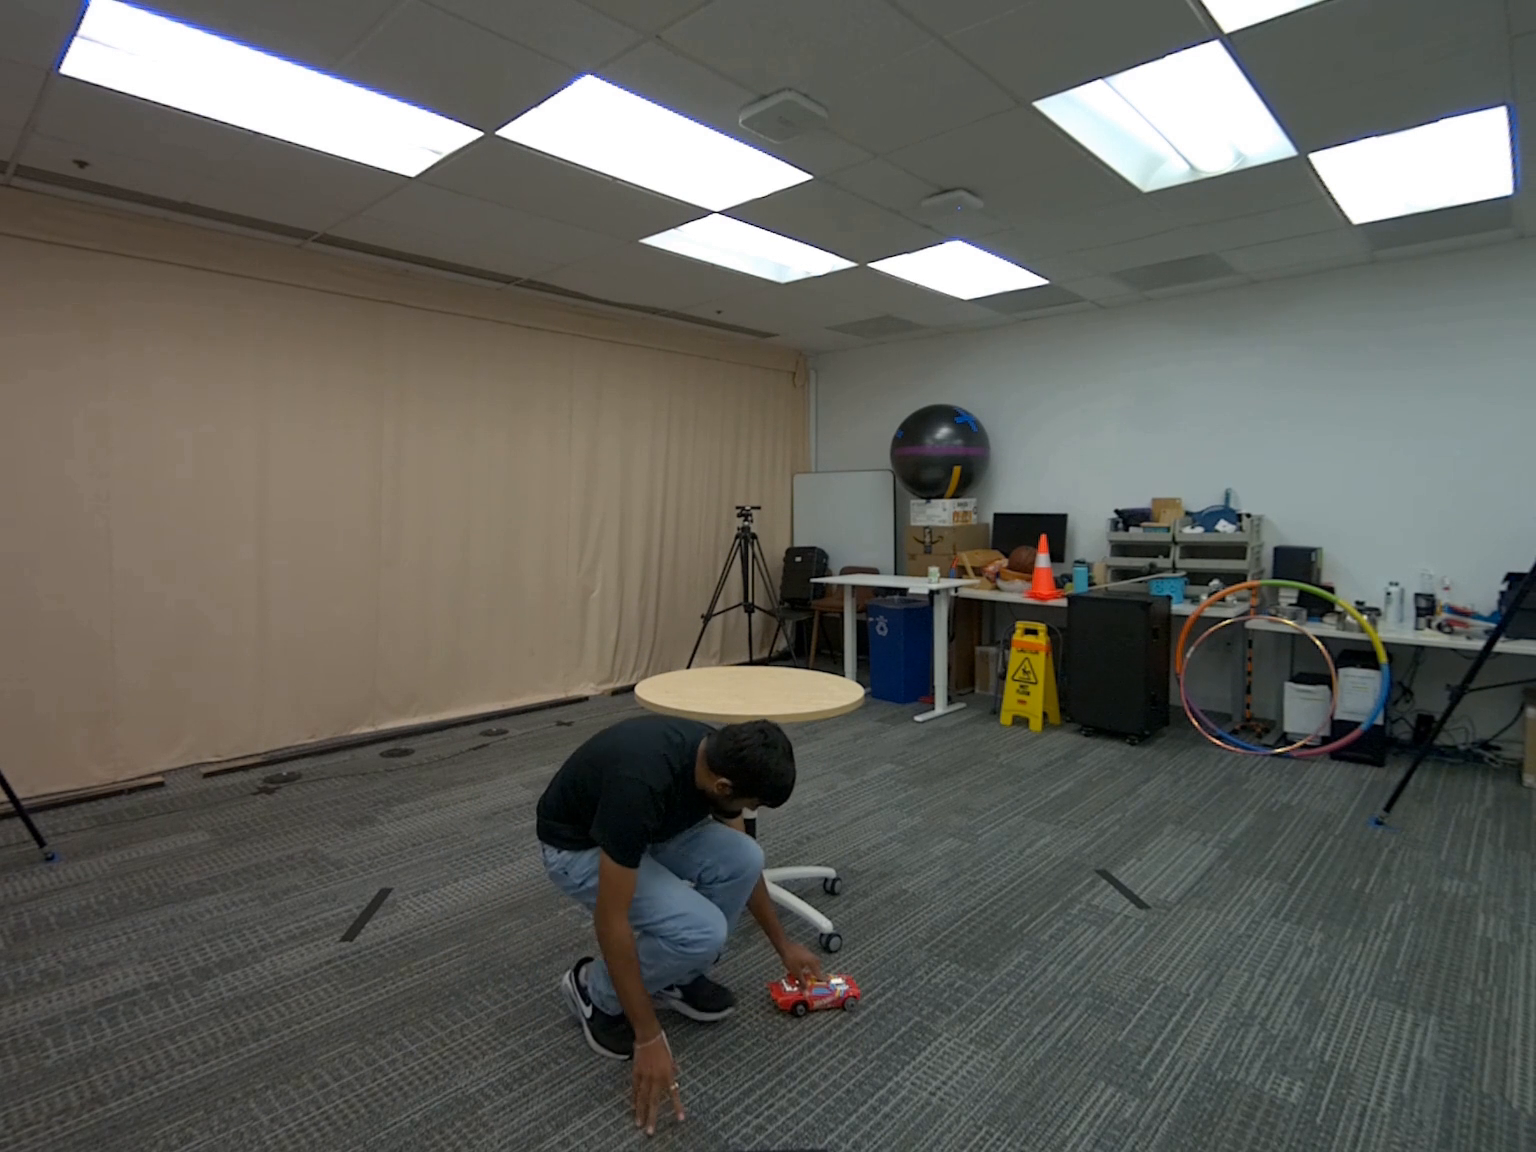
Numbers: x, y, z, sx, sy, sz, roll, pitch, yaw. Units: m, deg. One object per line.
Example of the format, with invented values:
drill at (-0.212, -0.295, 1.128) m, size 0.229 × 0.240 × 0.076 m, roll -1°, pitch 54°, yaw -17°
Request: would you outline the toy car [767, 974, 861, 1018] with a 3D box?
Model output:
toy car at (0.125, 1.158, 2.355) m, size 0.251 × 0.083 × 0.132 m, roll 12°, pitch 1°, yaw -12°
